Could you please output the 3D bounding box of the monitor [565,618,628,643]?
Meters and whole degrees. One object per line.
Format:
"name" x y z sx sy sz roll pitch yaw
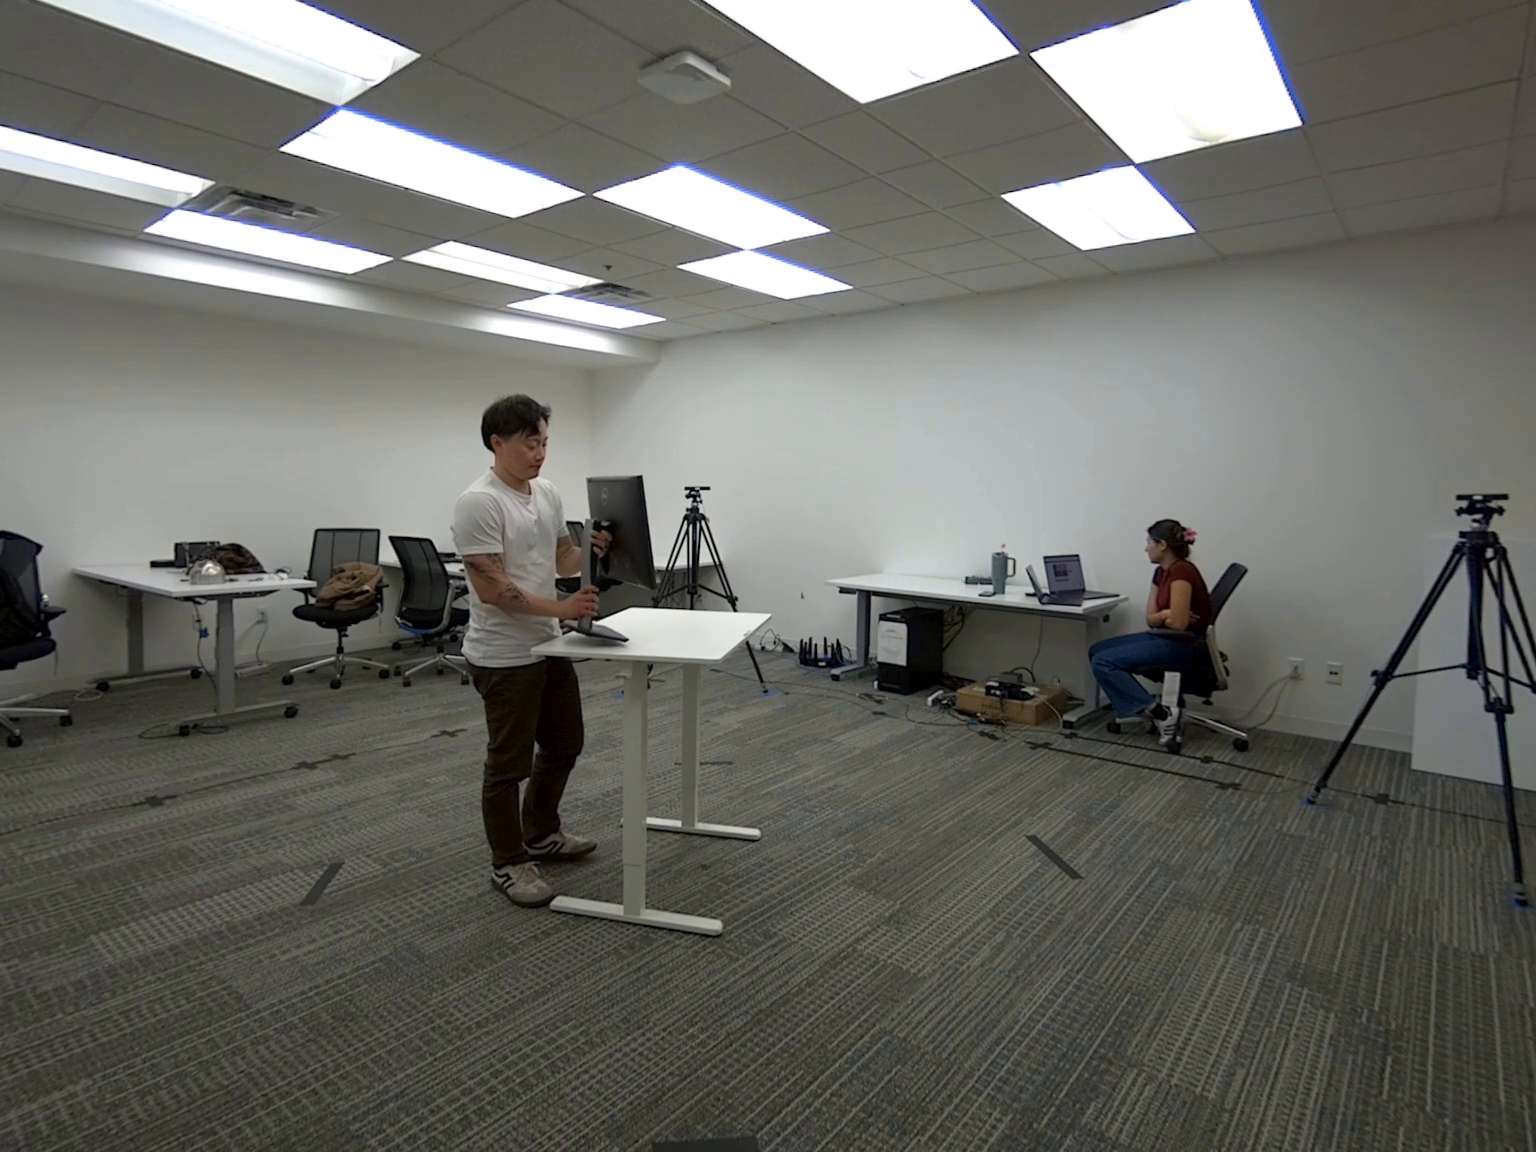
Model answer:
"monitor" -0.543 -0.067 2.784 0.182 0.523 0.555 8 0 -28
